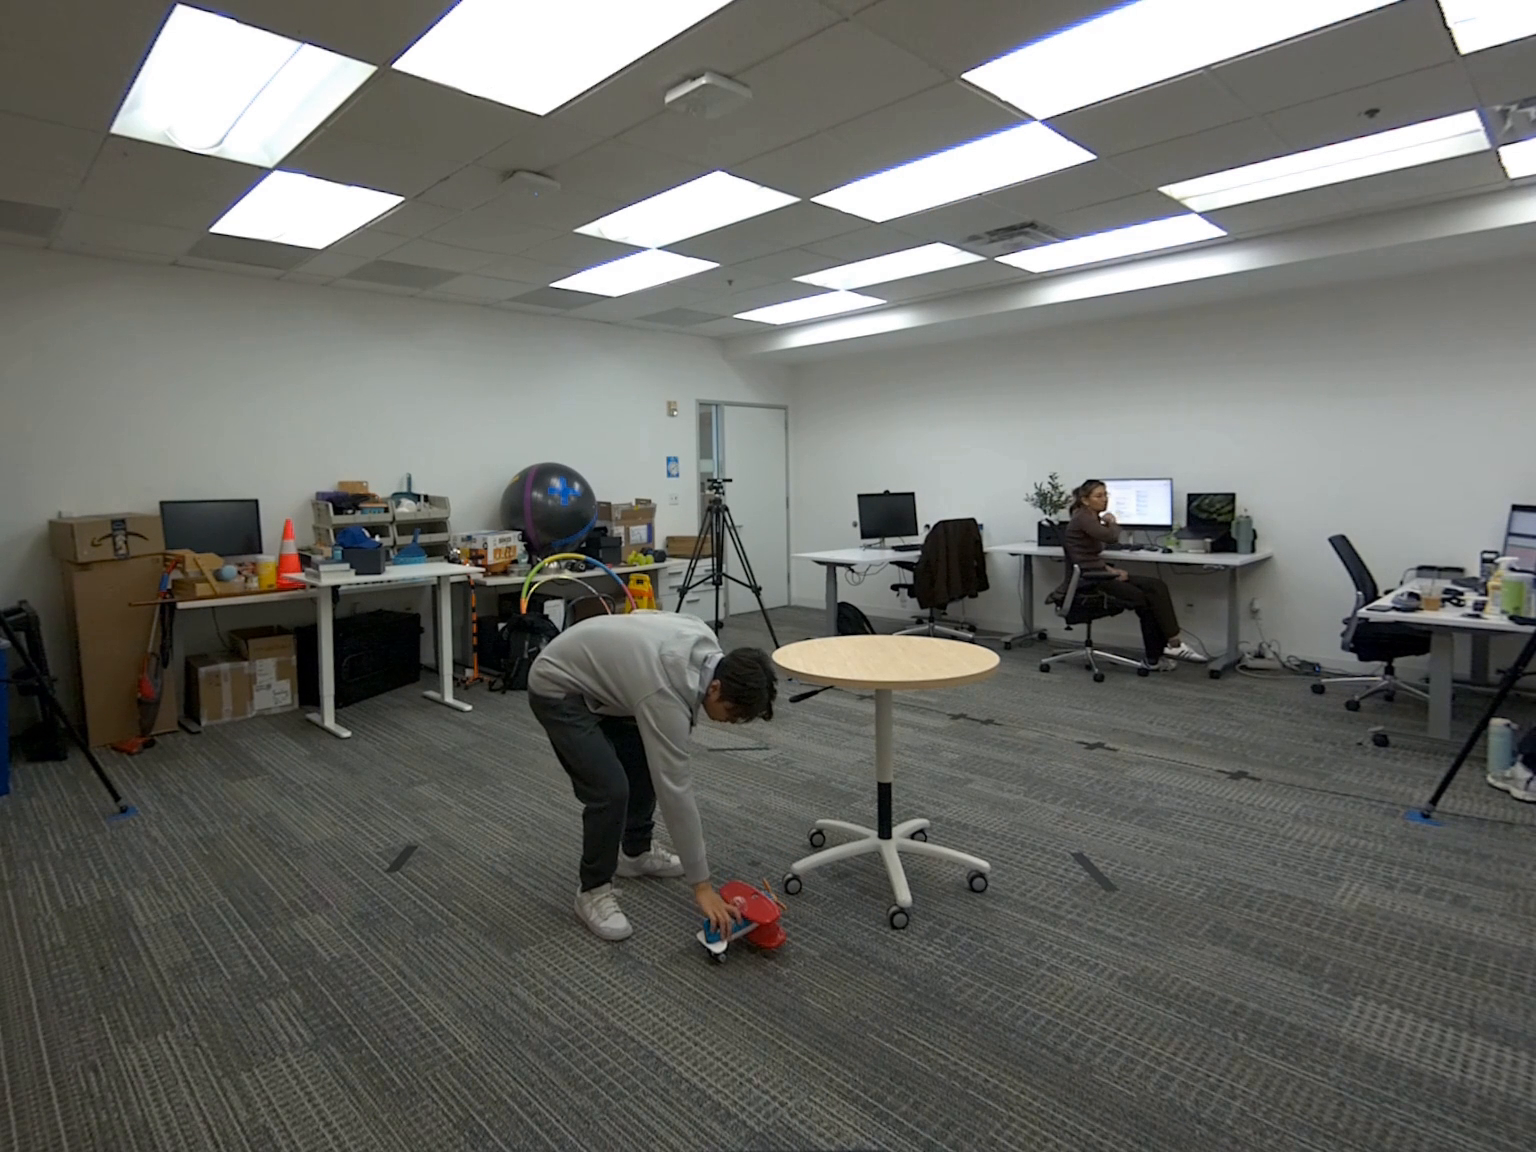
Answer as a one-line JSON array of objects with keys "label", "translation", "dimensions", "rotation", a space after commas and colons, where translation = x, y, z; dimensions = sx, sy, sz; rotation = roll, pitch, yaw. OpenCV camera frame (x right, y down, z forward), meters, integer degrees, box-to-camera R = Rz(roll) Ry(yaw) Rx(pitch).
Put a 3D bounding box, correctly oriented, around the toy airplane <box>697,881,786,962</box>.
[{"label": "toy airplane", "translation": [-0.065, 1.036, 2.531], "dimensions": [0.258, 0.156, 0.253], "rotation": [4, 7, 30]}]
